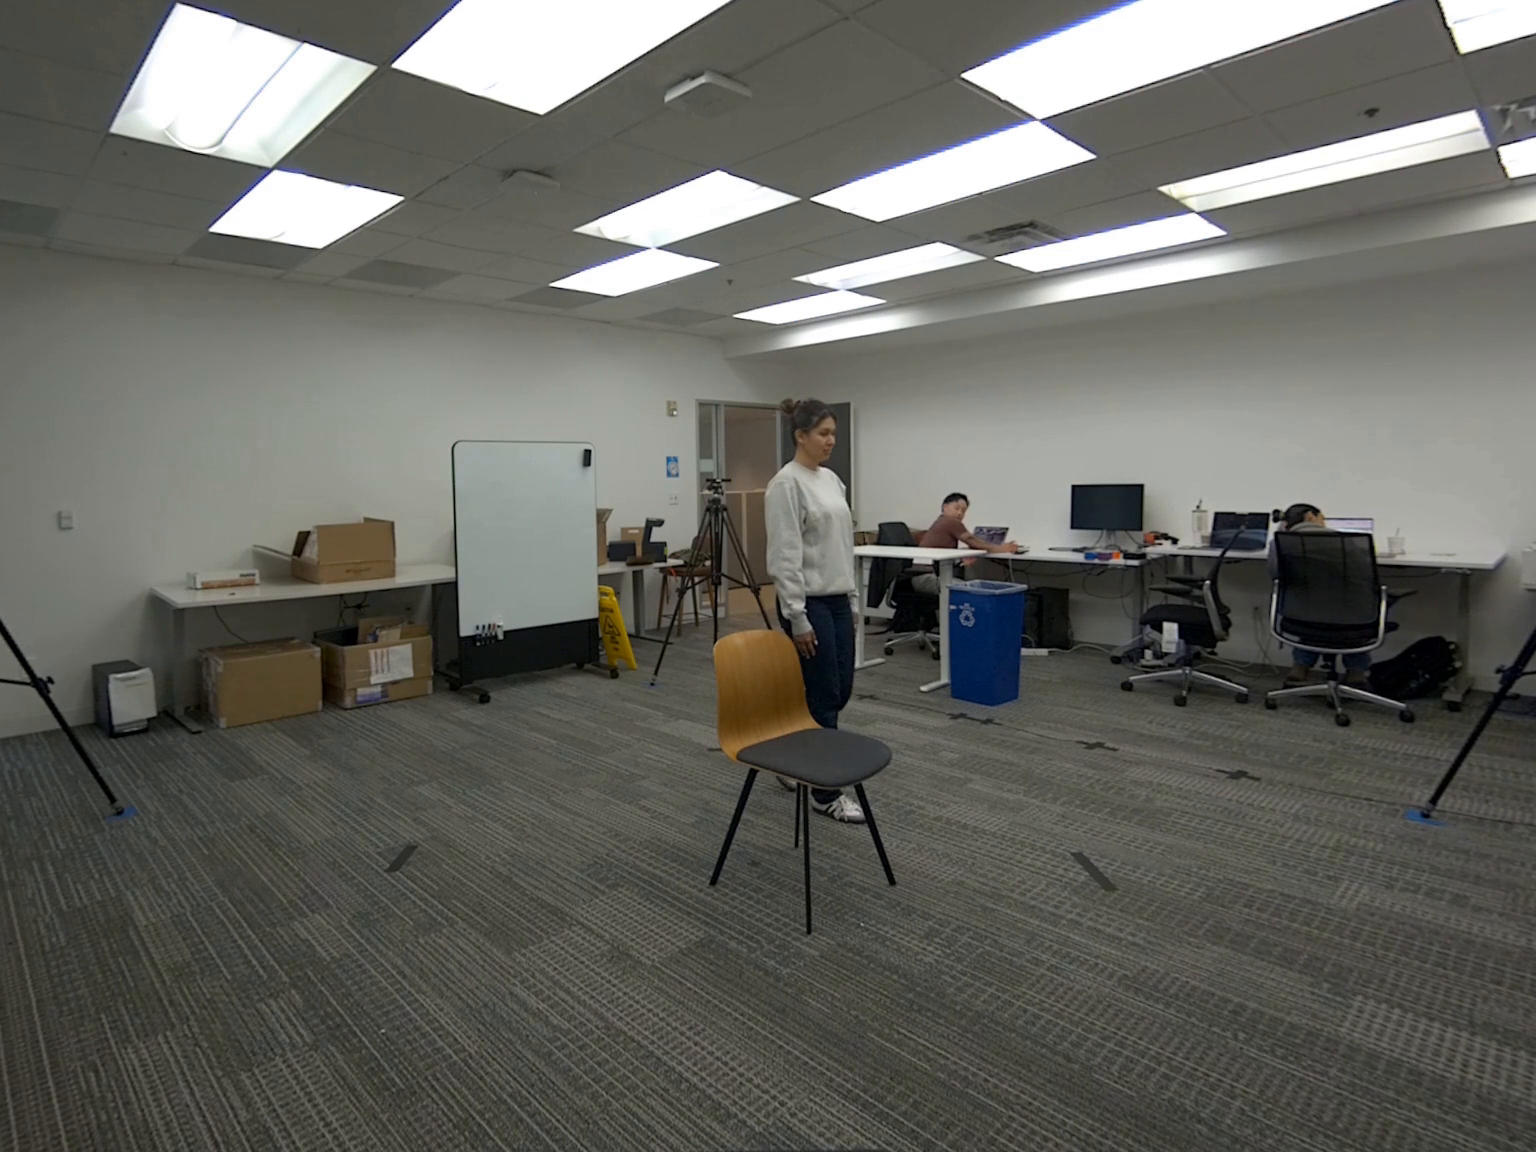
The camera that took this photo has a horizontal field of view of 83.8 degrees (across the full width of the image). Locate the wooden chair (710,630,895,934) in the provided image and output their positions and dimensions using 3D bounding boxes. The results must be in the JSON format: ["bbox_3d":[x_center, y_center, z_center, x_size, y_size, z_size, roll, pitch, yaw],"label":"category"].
[{"bbox_3d":[0.114,0.641,2.890,0.465,0.877,0.537,-4,1,-45],"label":"wooden chair"}]
